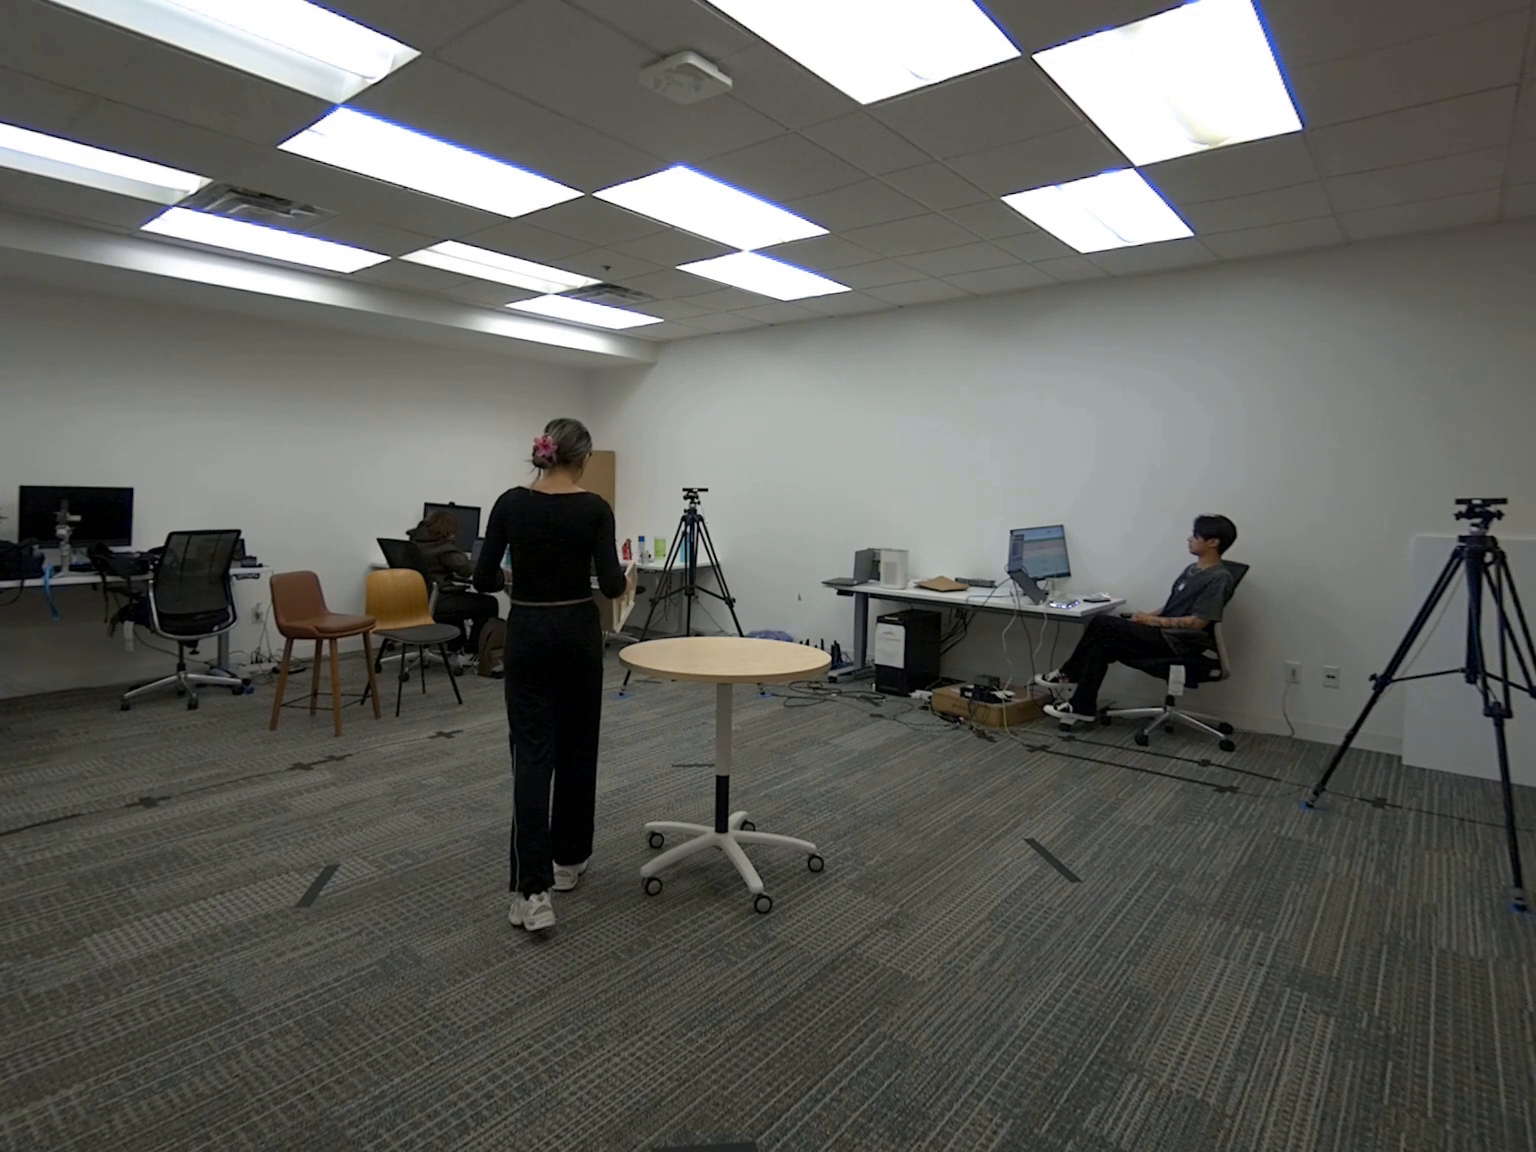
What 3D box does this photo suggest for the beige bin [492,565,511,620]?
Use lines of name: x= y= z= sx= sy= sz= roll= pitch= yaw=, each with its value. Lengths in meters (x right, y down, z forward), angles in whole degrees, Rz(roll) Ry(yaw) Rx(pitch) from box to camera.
beige bin: x=-0.751 y=0.072 z=3.252 sx=0.426 sy=0.186 sz=0.381 roll=-1 pitch=19 yaw=7
